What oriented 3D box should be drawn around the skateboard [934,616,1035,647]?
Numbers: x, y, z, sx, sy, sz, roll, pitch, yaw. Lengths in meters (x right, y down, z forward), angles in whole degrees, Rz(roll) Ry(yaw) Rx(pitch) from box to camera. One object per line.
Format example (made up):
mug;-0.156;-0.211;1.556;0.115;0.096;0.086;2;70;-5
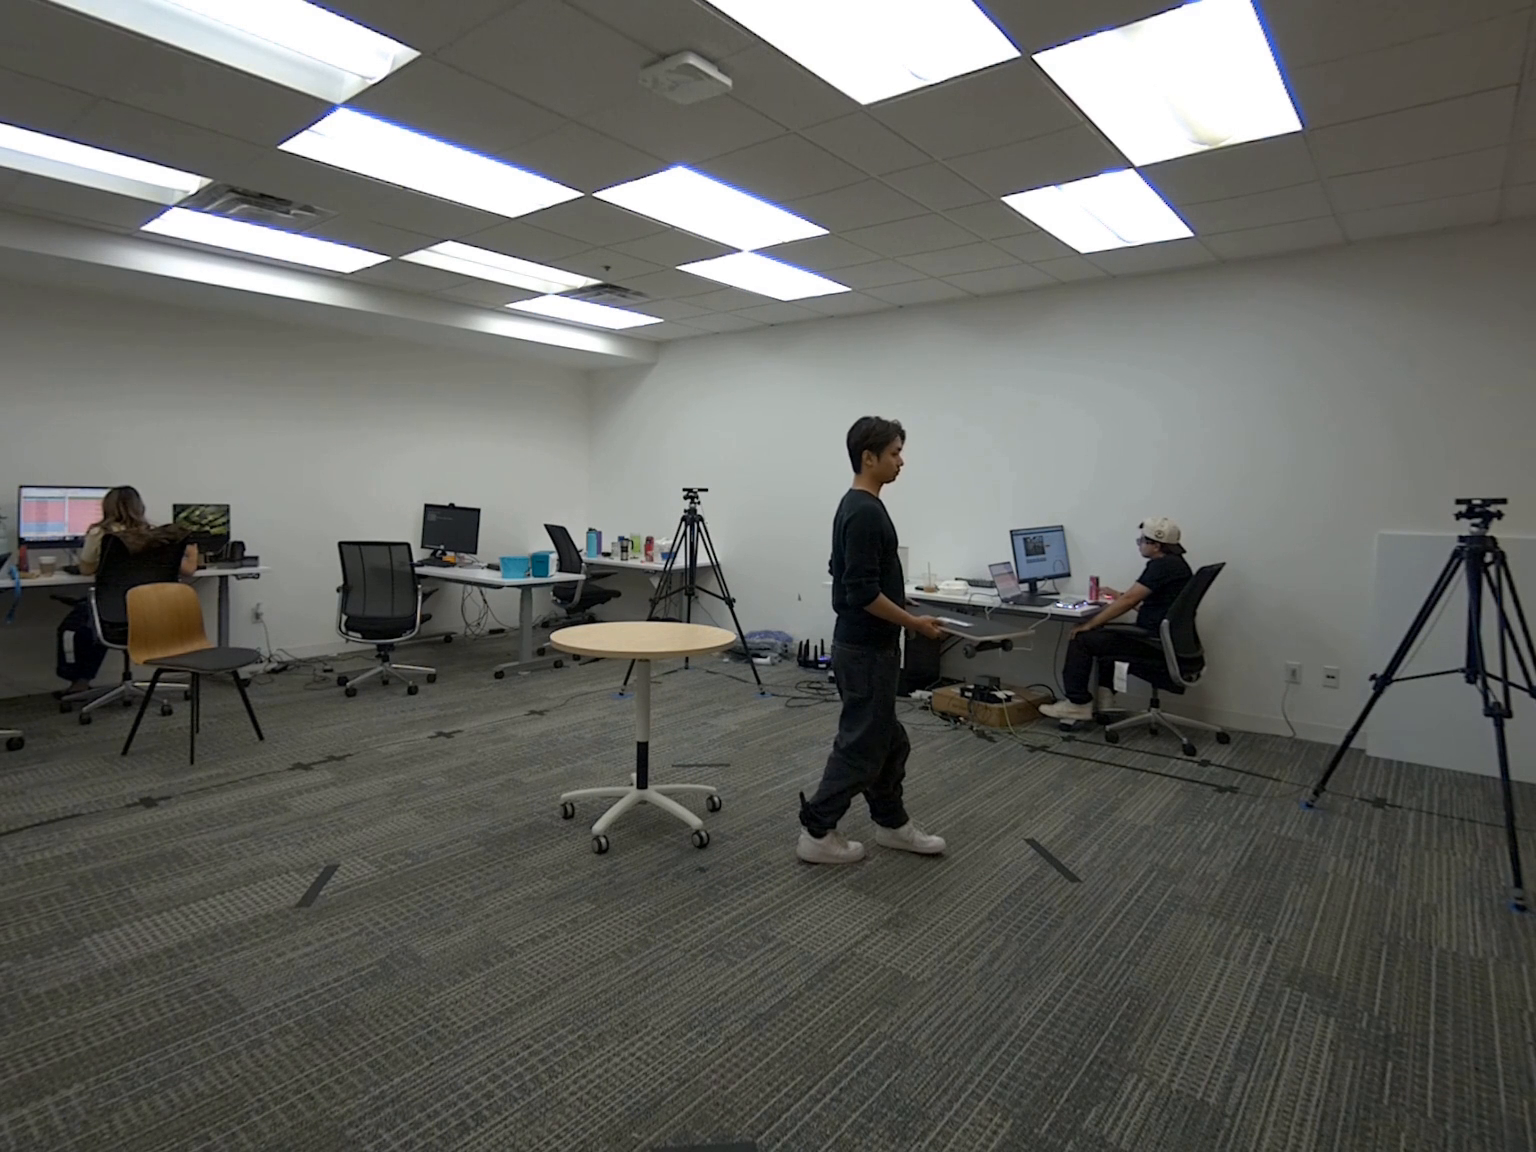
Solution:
skateboard;0.677;0.194;3.170;0.190;0.109;0.804;-7;9;-19
